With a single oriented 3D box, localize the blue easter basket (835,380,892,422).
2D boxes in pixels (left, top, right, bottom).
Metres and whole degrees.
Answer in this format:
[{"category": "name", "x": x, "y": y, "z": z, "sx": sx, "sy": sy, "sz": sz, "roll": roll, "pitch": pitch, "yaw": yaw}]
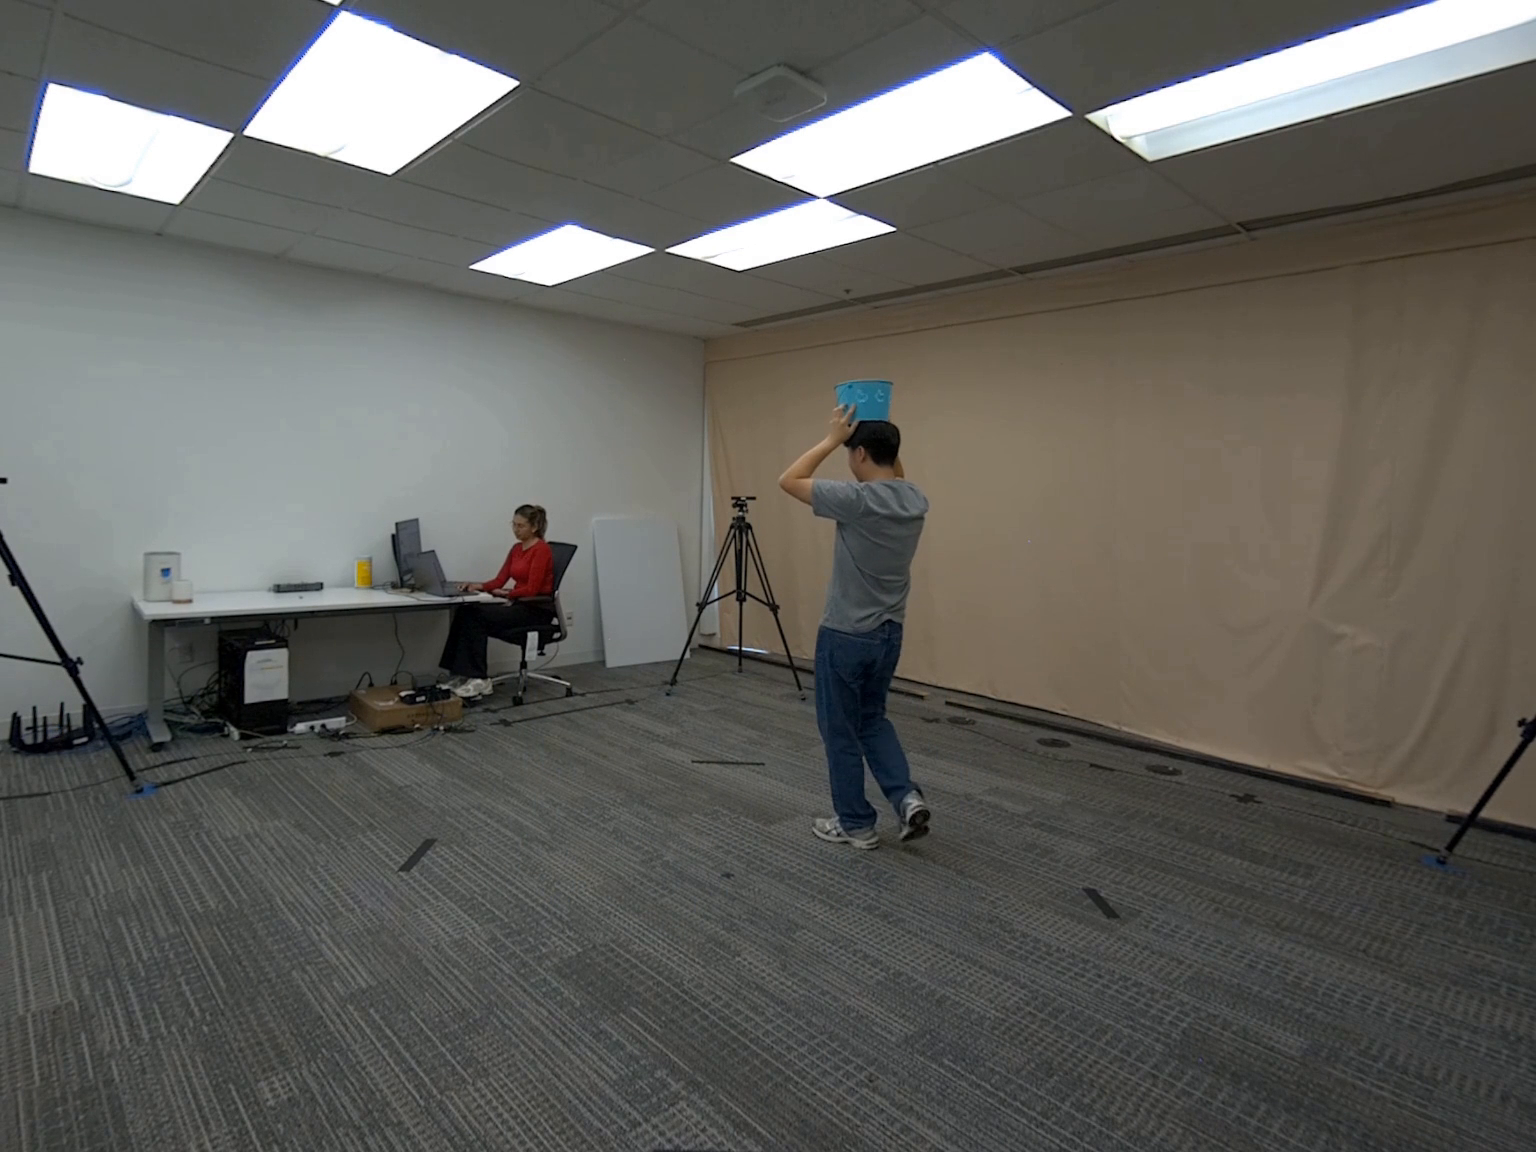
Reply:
[{"category": "blue easter basket", "x": 0.392, "y": -0.683, "z": 3.356, "sx": 0.243, "sy": 0.156, "sz": 0.244, "roll": -1, "pitch": 1, "yaw": -1}]
